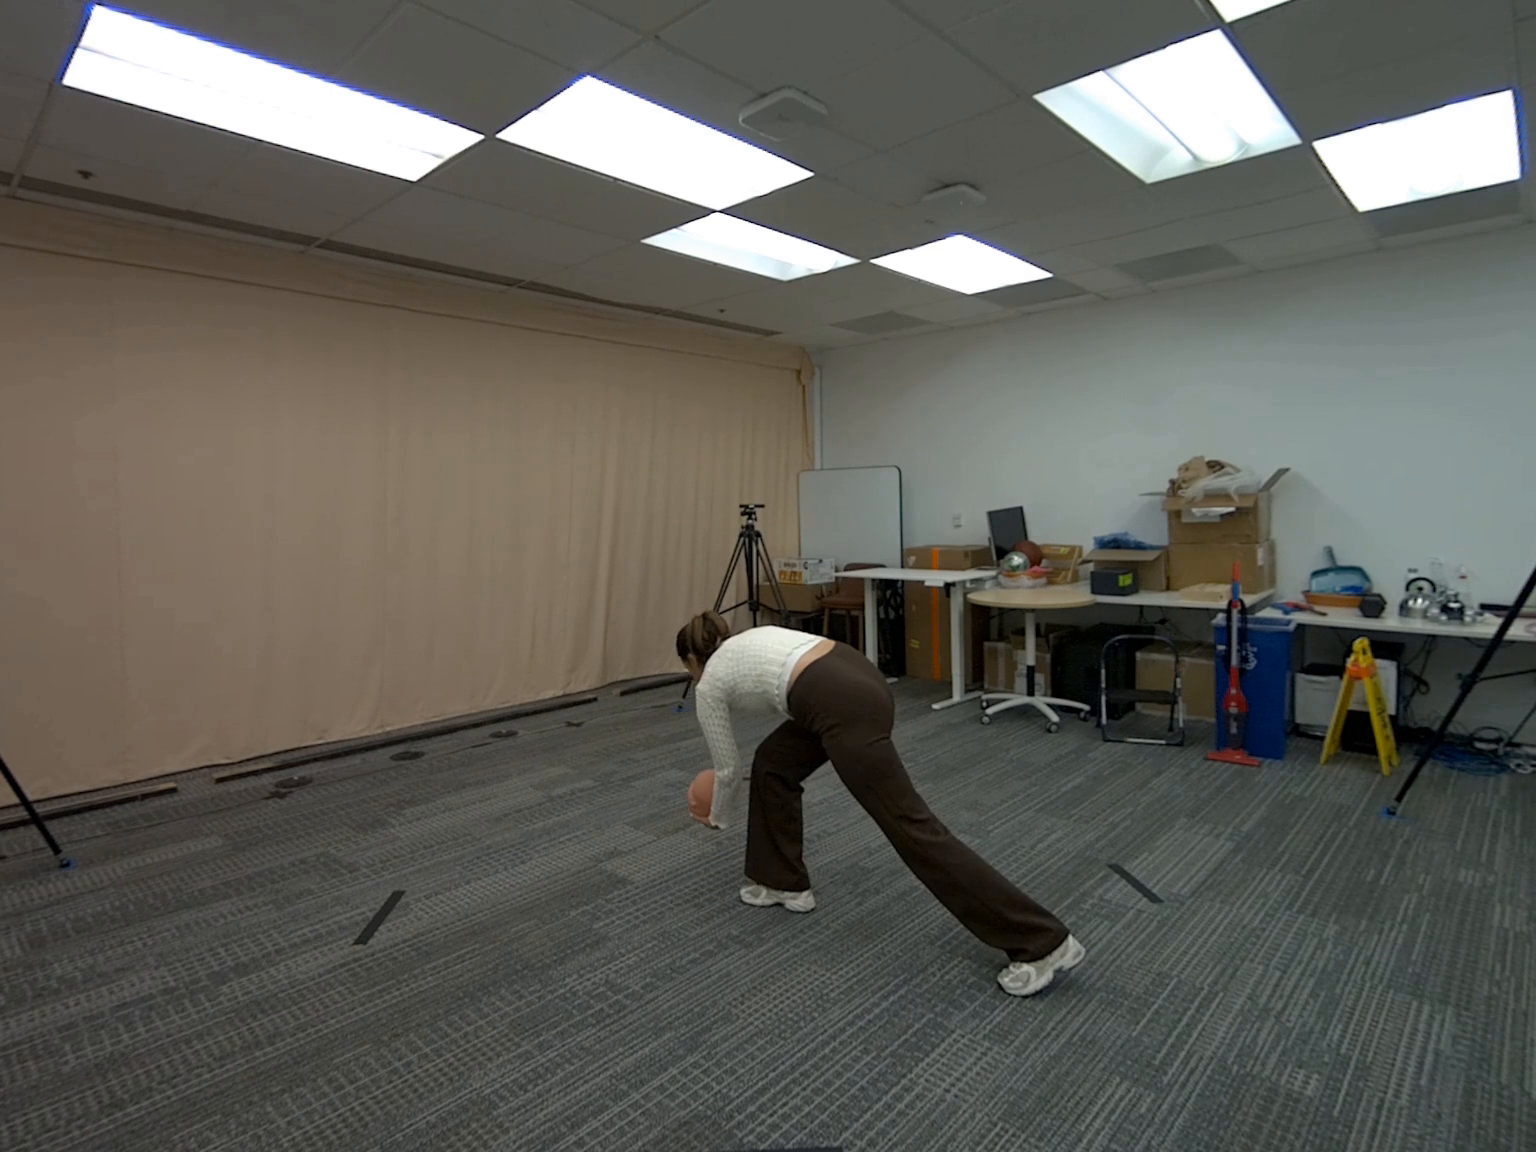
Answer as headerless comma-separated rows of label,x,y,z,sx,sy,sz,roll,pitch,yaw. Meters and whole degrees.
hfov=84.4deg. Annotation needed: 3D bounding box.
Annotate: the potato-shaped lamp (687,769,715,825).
potato-shaped lamp,-0.217,0.806,3.136,0.173,0.194,0.166,9,49,8
